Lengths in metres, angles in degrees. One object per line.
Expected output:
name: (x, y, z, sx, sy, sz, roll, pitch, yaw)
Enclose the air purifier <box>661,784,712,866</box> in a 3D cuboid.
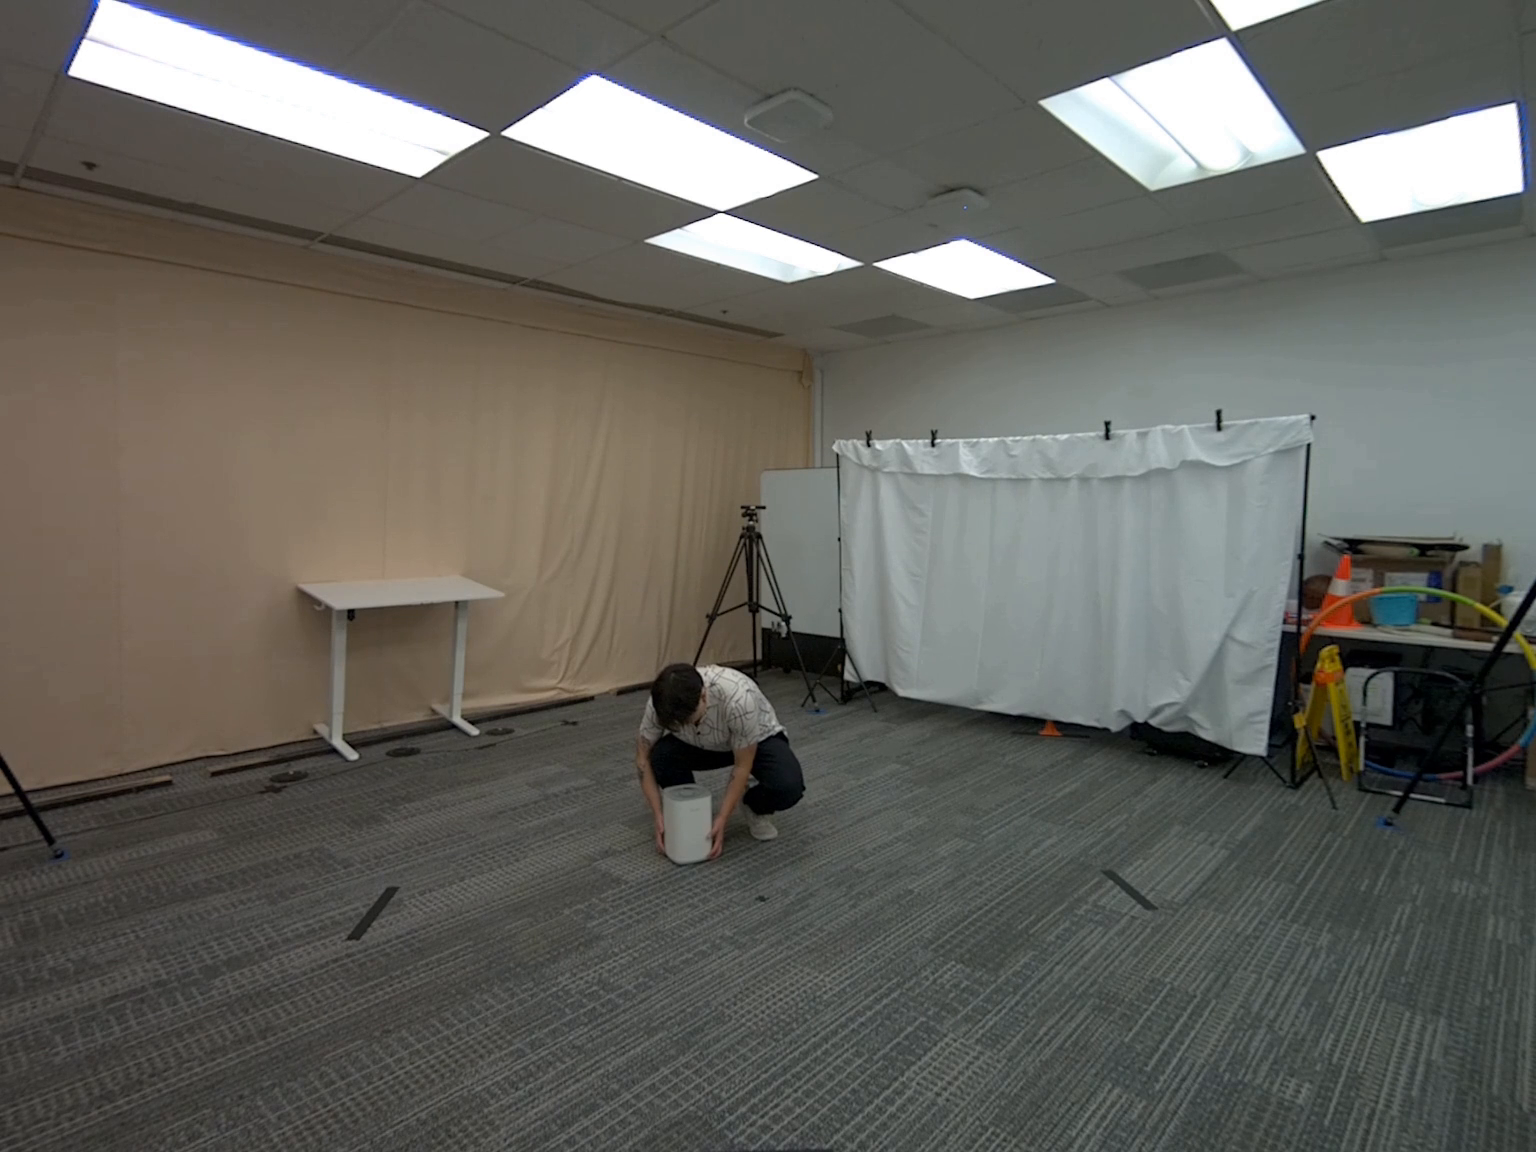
air purifier: (-0.320, 0.978, 3.341, 0.167, 0.265, 0.175, -3, 4, -26)
